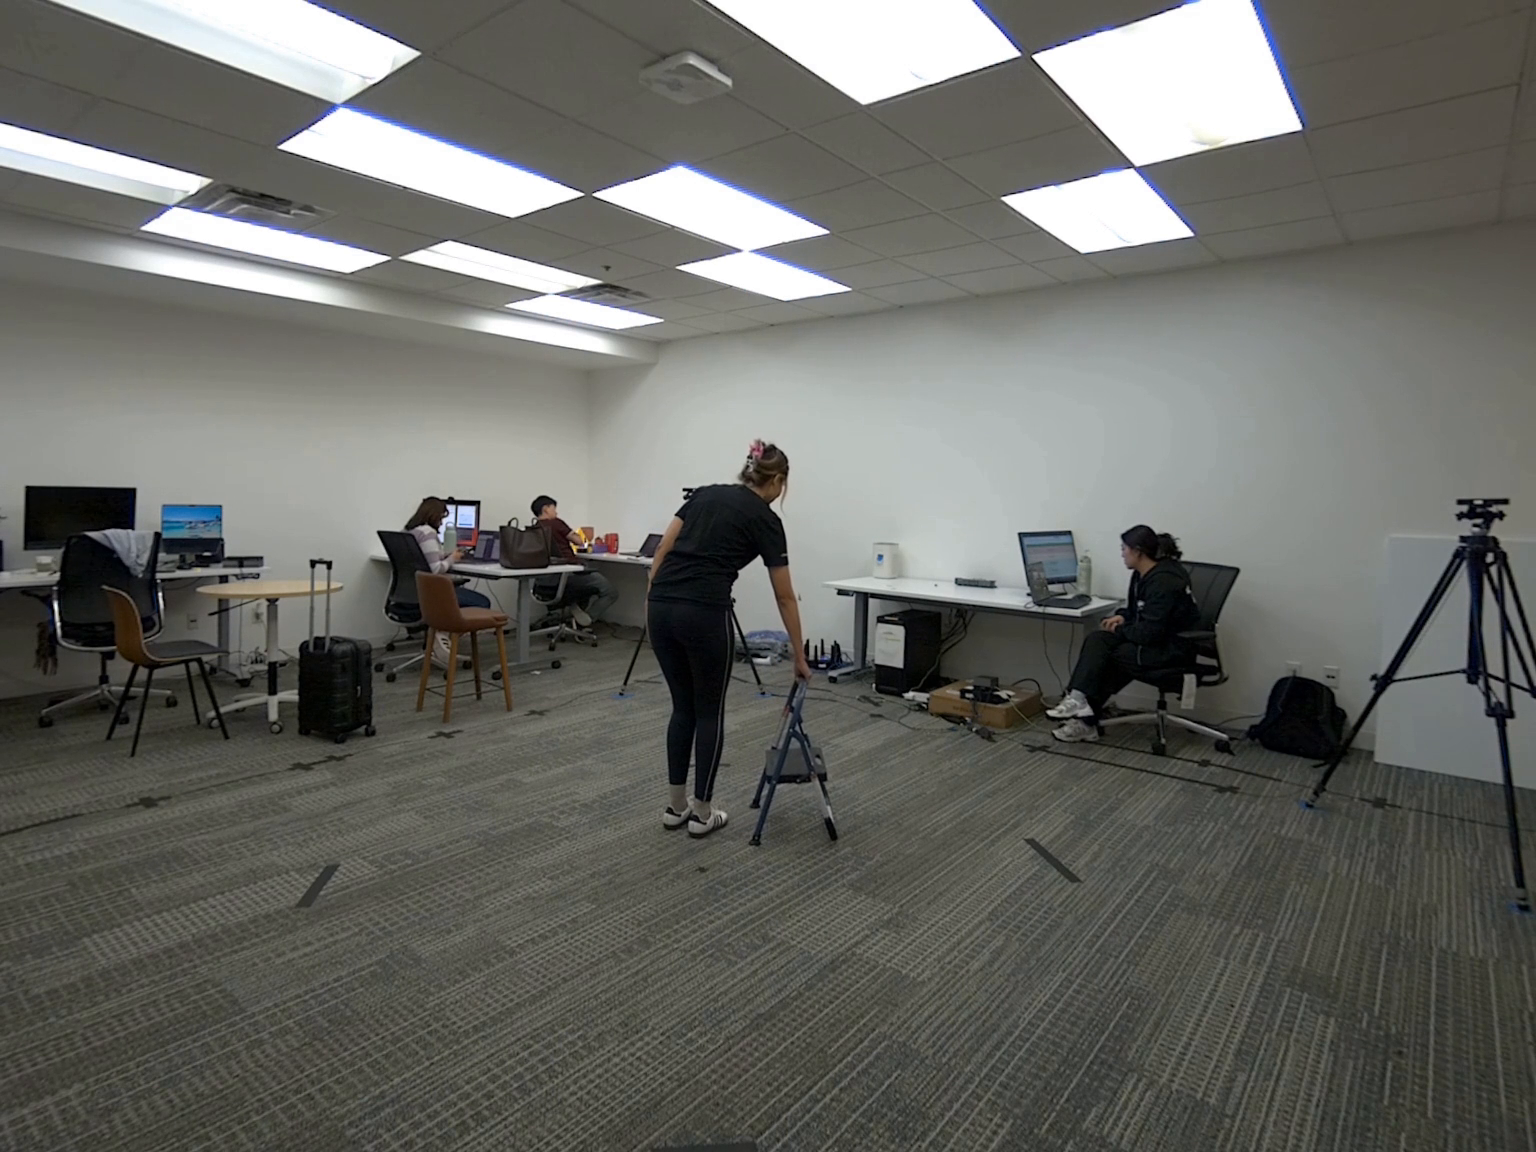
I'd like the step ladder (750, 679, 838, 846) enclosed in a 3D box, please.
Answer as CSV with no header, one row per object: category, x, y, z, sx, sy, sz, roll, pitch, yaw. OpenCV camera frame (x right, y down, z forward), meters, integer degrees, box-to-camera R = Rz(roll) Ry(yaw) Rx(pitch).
step ladder,0.075,0.724,3.515,0.350,0.604,0.431,-4,3,0
